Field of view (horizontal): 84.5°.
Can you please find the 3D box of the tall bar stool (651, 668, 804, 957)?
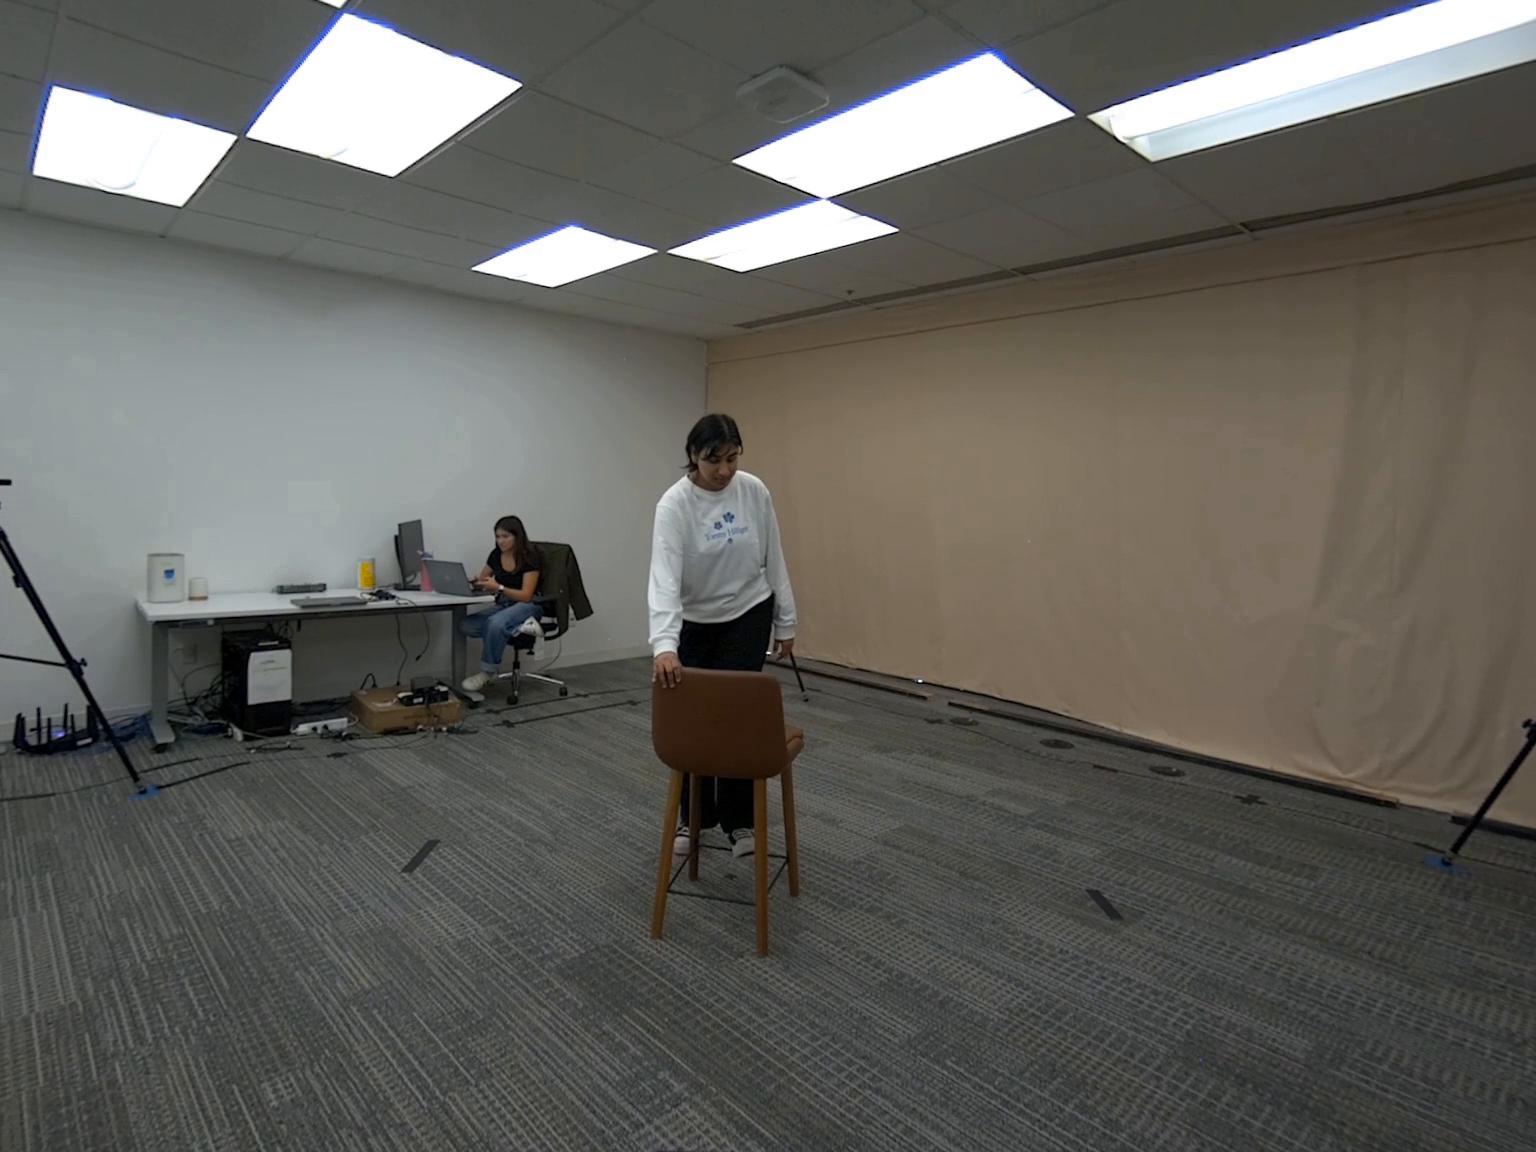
[{"bbox_3d":[-0.138,0.705,2.785,0.462,0.886,0.463,2,6,15],"label":"tall bar stool"}]
